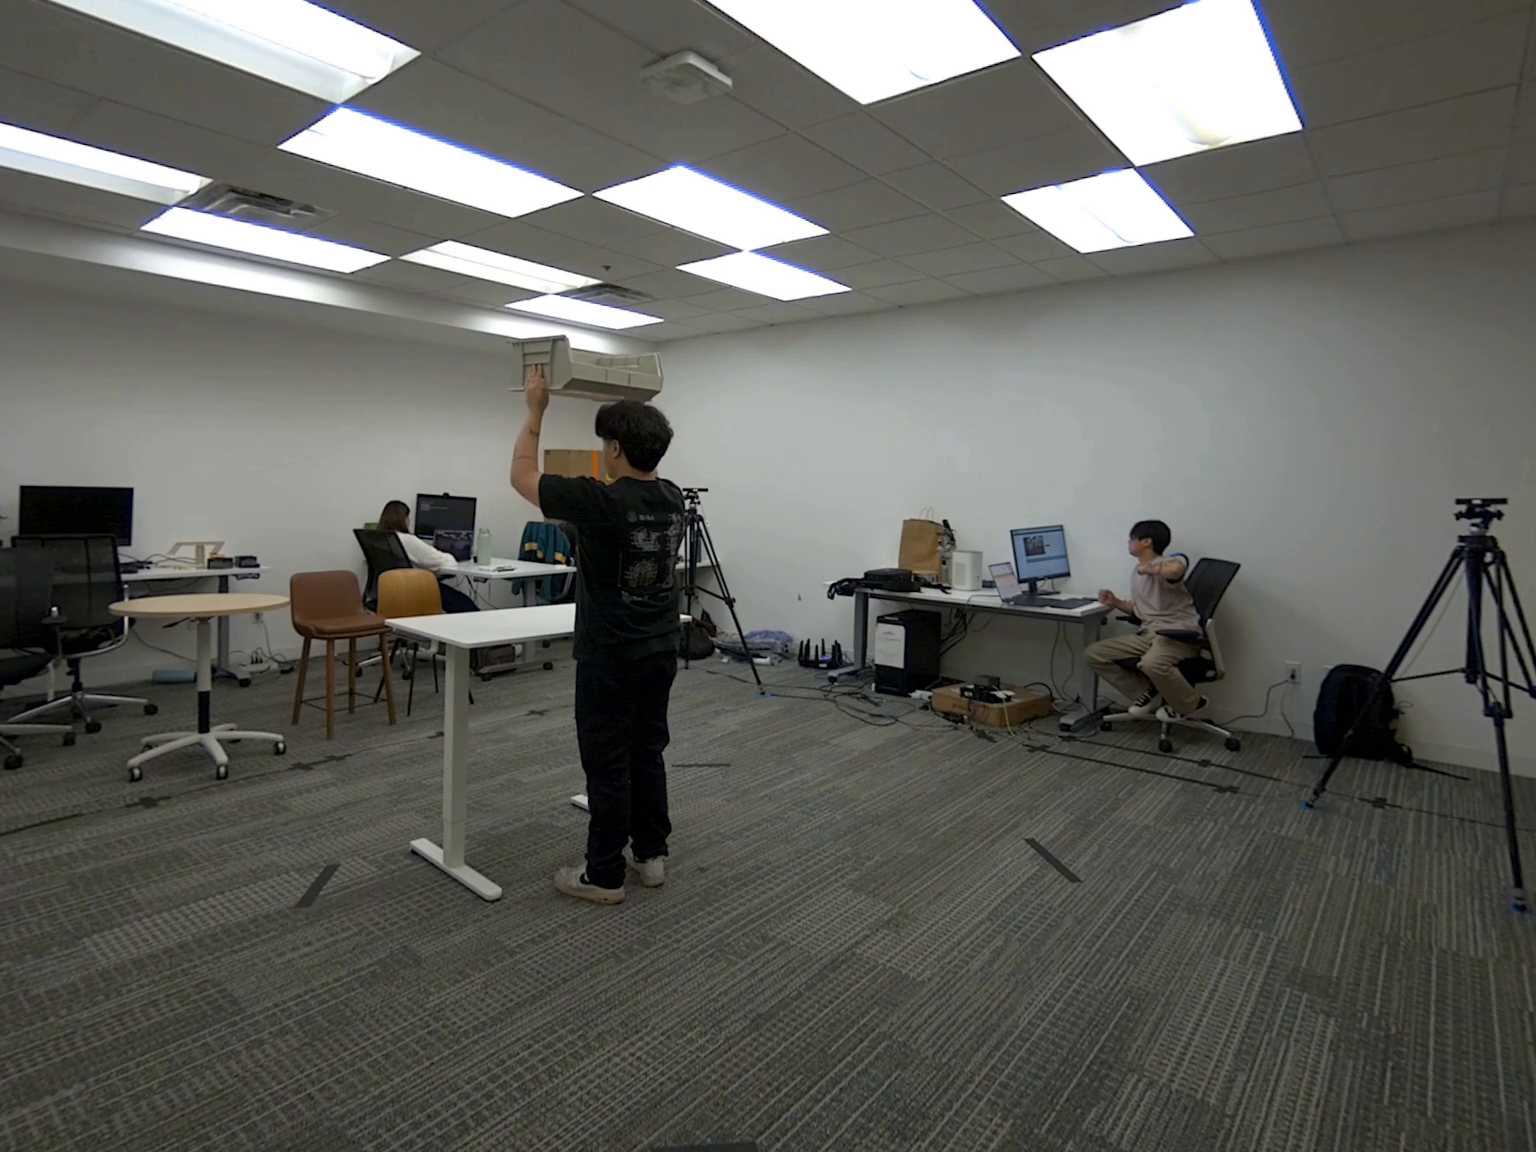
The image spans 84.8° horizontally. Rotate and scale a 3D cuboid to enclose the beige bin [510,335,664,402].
[{"bbox_3d":[-0.658,-0.733,3.036,0.391,0.188,0.410,9,9,41],"label":"beige bin"}]
